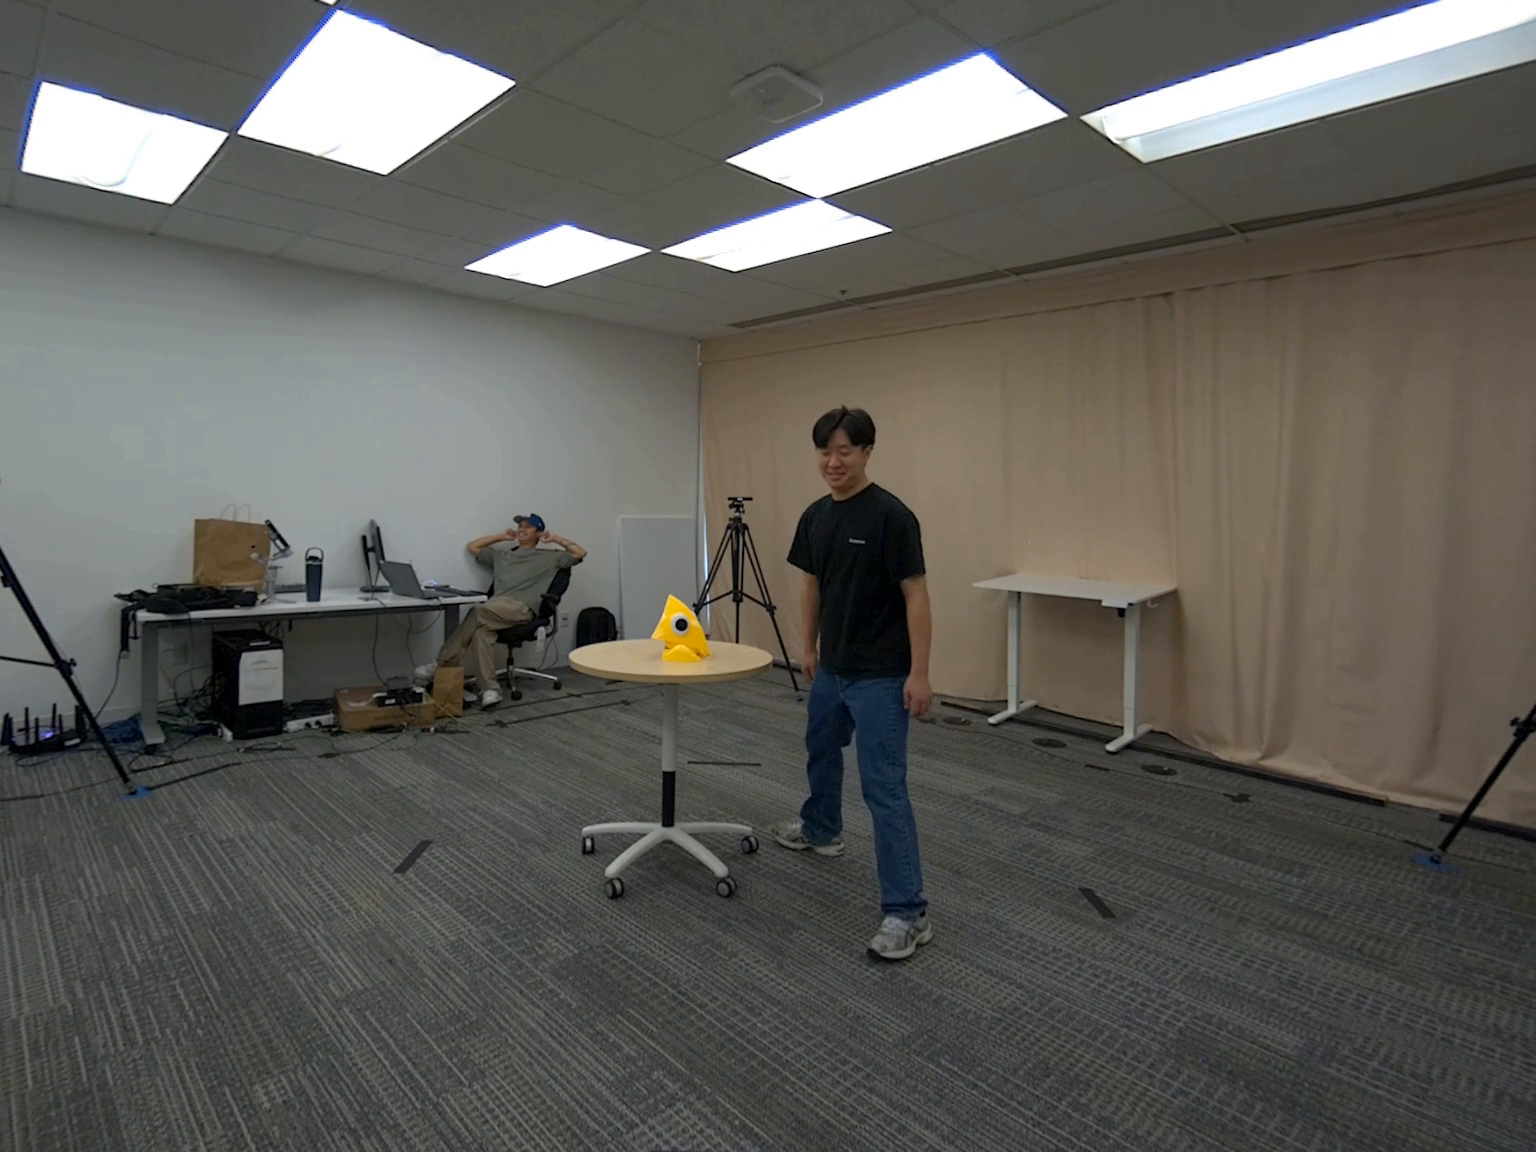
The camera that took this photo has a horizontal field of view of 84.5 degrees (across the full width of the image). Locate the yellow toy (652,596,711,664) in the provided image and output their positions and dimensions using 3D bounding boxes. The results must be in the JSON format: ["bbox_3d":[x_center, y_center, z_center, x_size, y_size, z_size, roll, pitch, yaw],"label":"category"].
[{"bbox_3d":[-0.317,0.186,3.150,0.195,0.230,0.203,2,4,14],"label":"yellow toy"}]
